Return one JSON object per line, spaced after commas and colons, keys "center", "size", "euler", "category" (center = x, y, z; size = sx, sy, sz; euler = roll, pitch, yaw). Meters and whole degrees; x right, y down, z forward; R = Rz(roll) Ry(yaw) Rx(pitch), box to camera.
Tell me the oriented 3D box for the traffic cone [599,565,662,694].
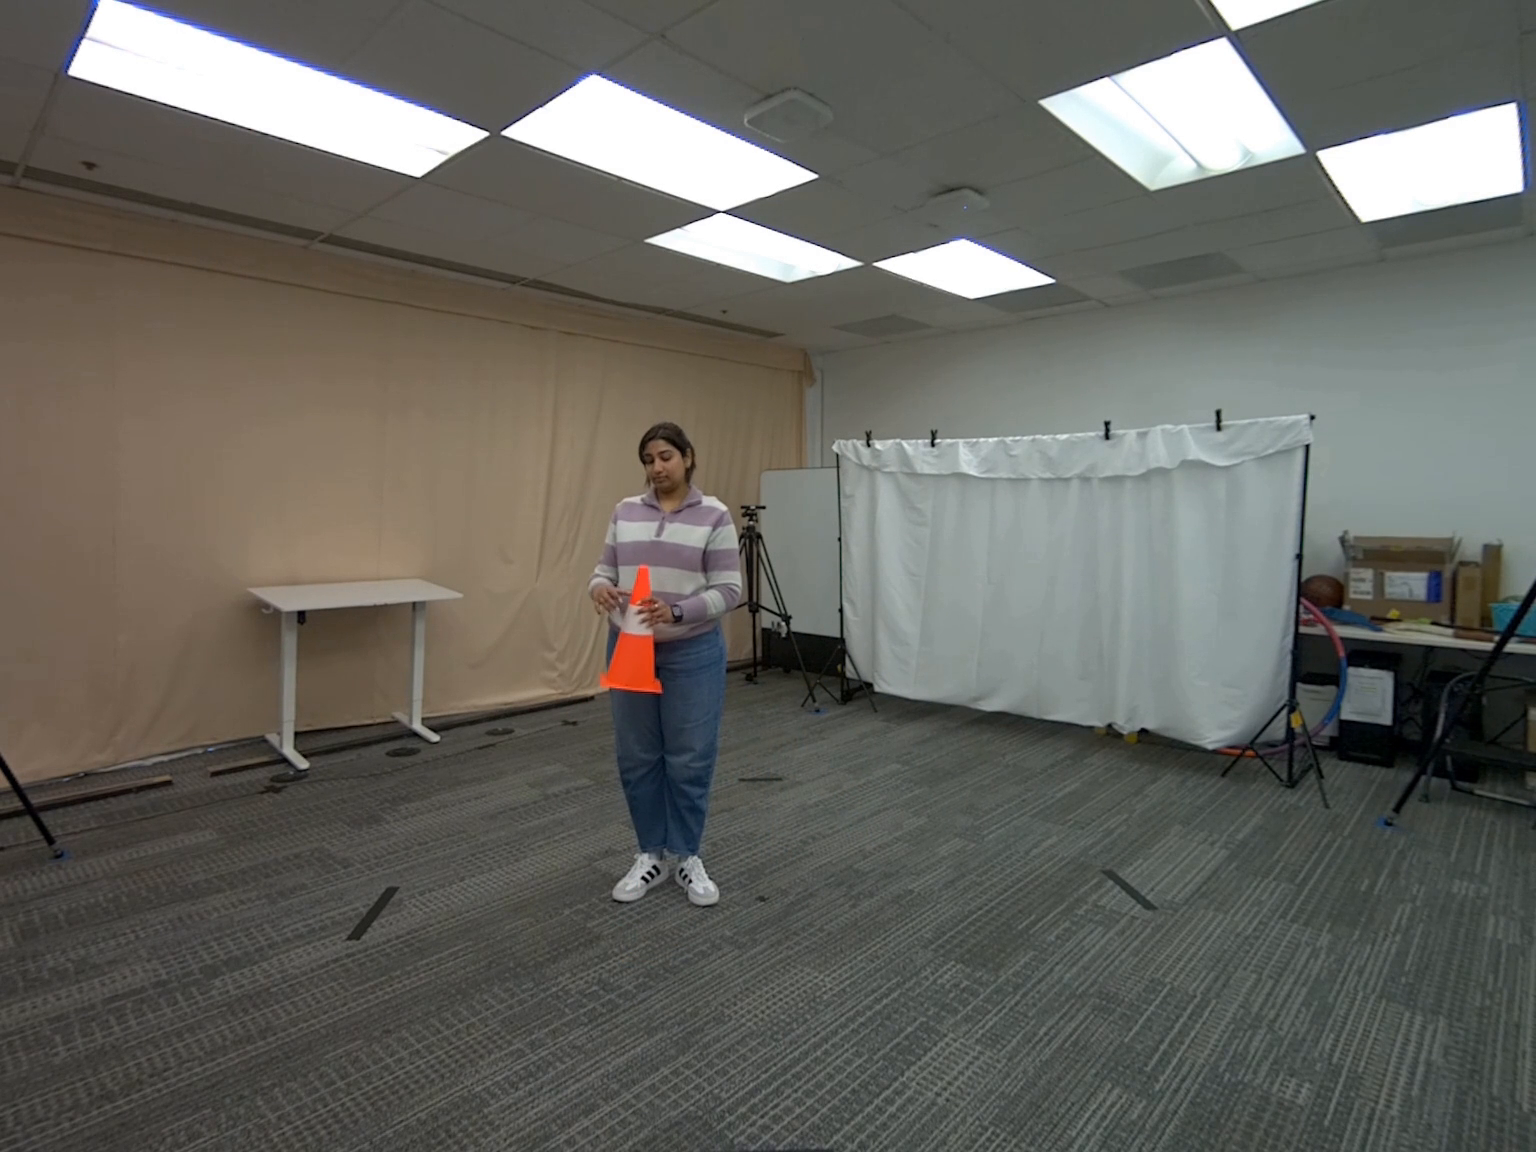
{"center": [-0.427, 0.160, 2.712], "size": [0.202, 0.382, 0.206], "euler": [4, 7, -12], "category": "traffic cone"}
